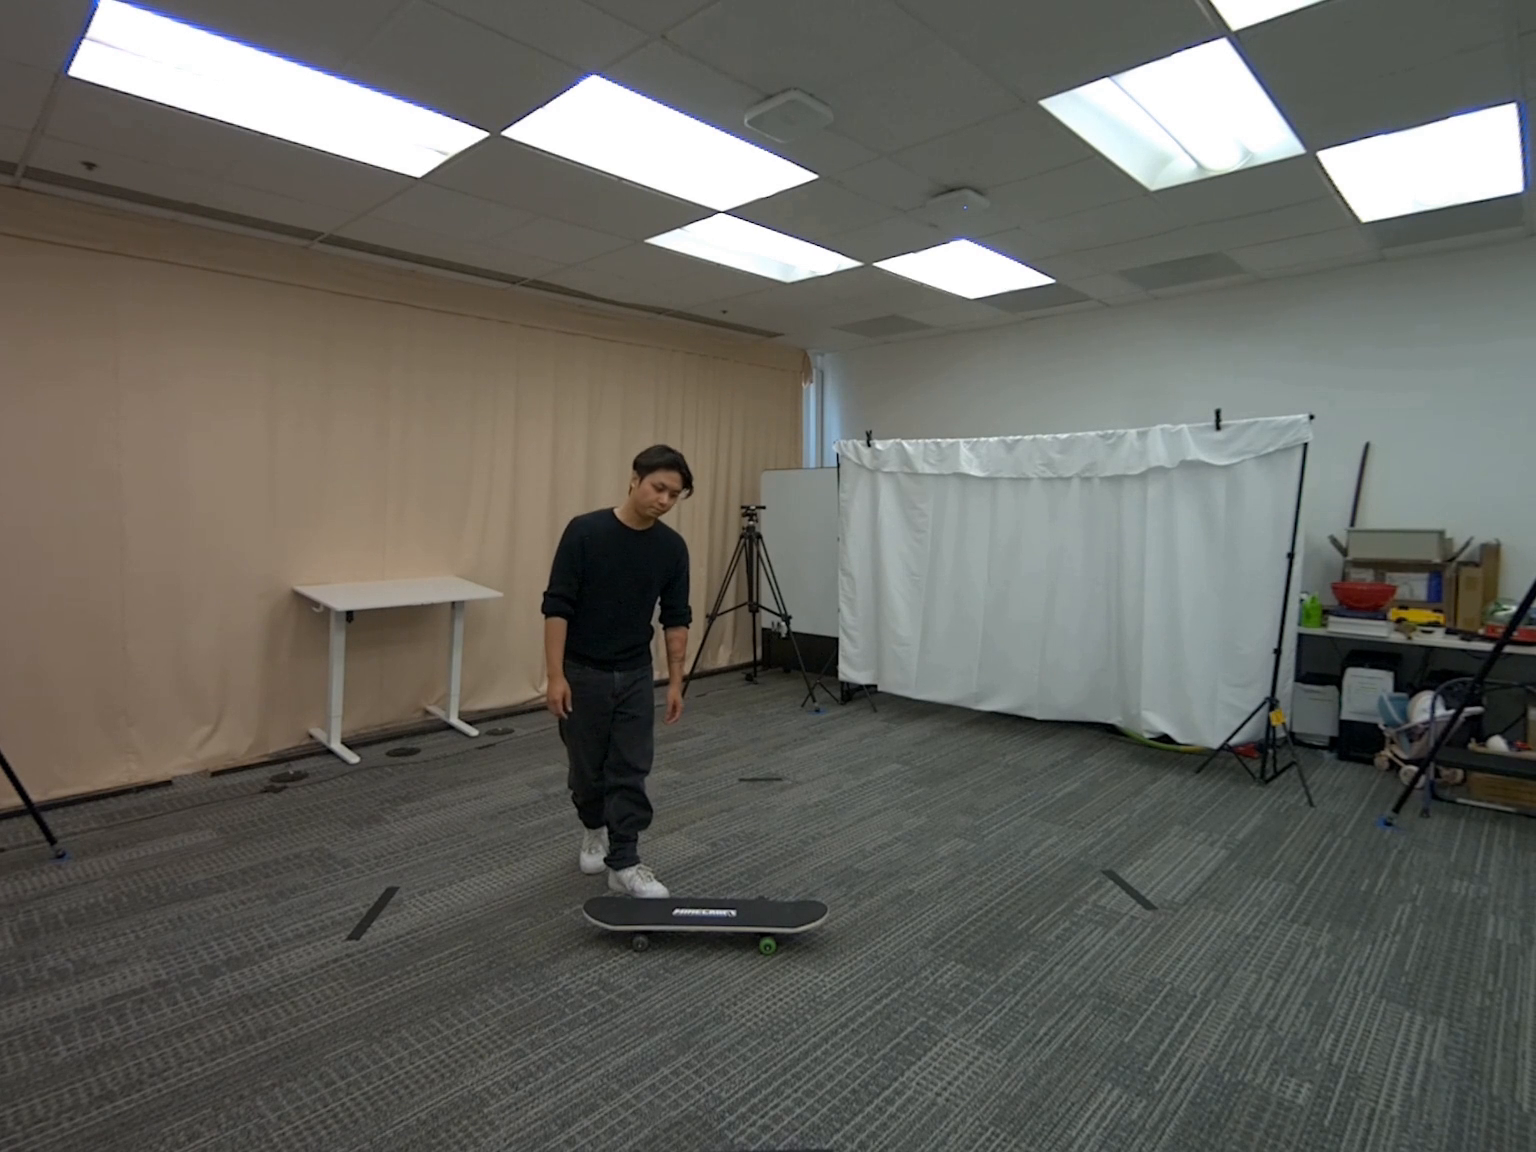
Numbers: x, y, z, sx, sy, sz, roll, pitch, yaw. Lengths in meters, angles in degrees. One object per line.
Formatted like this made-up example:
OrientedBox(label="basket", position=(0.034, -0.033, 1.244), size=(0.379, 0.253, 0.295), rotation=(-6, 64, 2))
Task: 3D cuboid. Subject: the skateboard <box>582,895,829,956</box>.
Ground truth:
OrientedBox(label="skateboard", position=(-0.196, 1.112, 2.697), size=(0.787, 0.110, 0.193), rotation=(-1, 5, 2))
